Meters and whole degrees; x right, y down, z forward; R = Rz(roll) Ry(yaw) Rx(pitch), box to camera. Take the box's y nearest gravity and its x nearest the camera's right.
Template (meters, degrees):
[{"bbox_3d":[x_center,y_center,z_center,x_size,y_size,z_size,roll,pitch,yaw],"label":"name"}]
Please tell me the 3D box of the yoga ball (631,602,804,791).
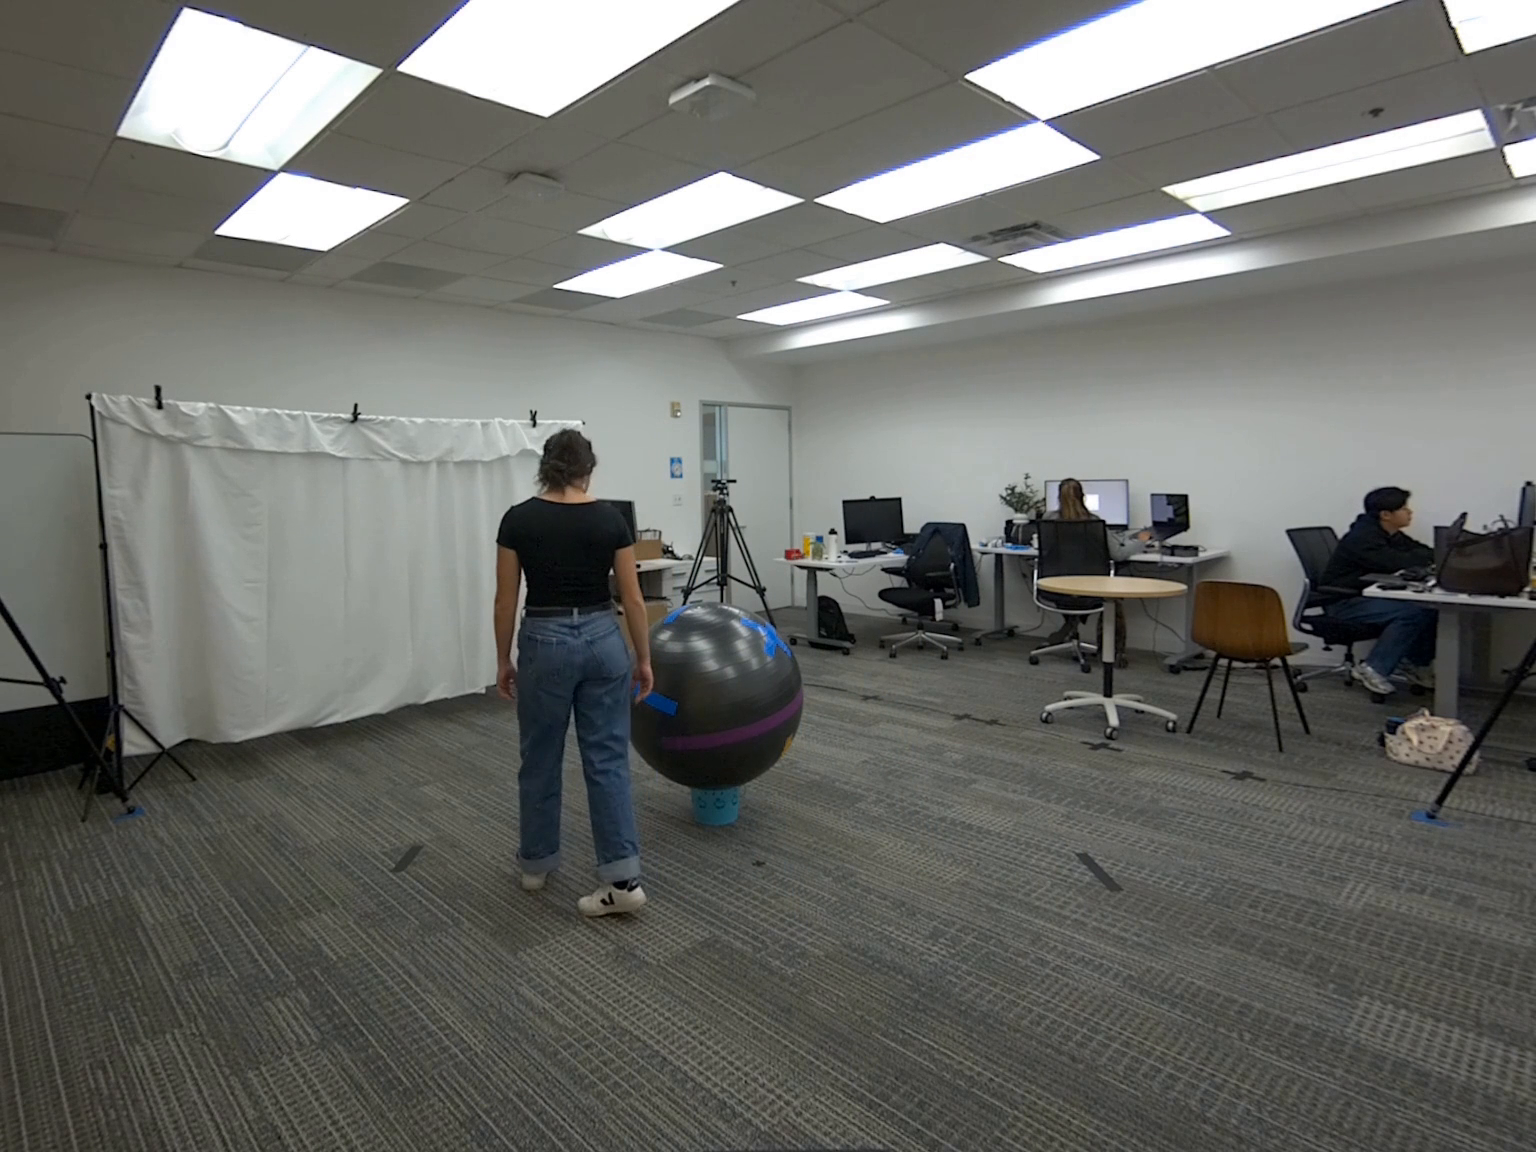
[{"bbox_3d":[-0.232,0.489,3.524,0.757,0.755,0.762,-1,5,-2],"label":"yoga ball"}]
